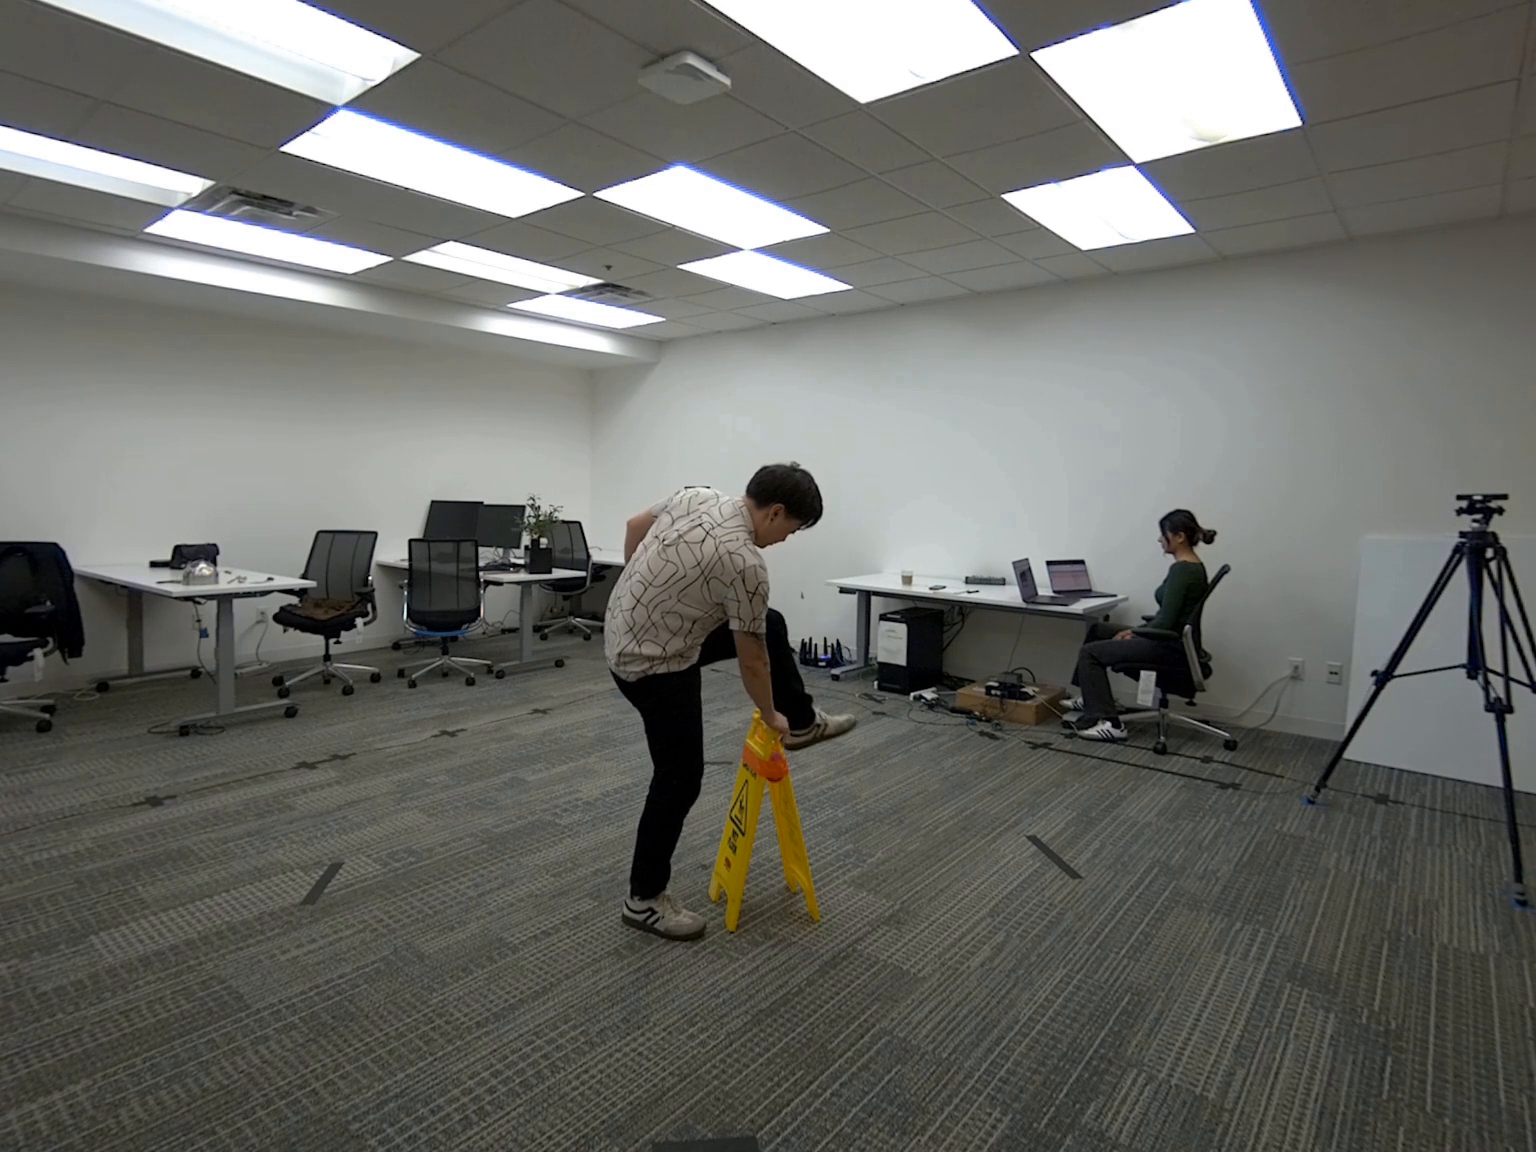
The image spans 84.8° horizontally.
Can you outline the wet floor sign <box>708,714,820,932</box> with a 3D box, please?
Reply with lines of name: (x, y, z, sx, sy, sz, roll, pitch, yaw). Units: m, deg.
wet floor sign: (-0.020, 0.771, 2.808, 0.284, 0.644, 0.288, 0, 3, -18)
